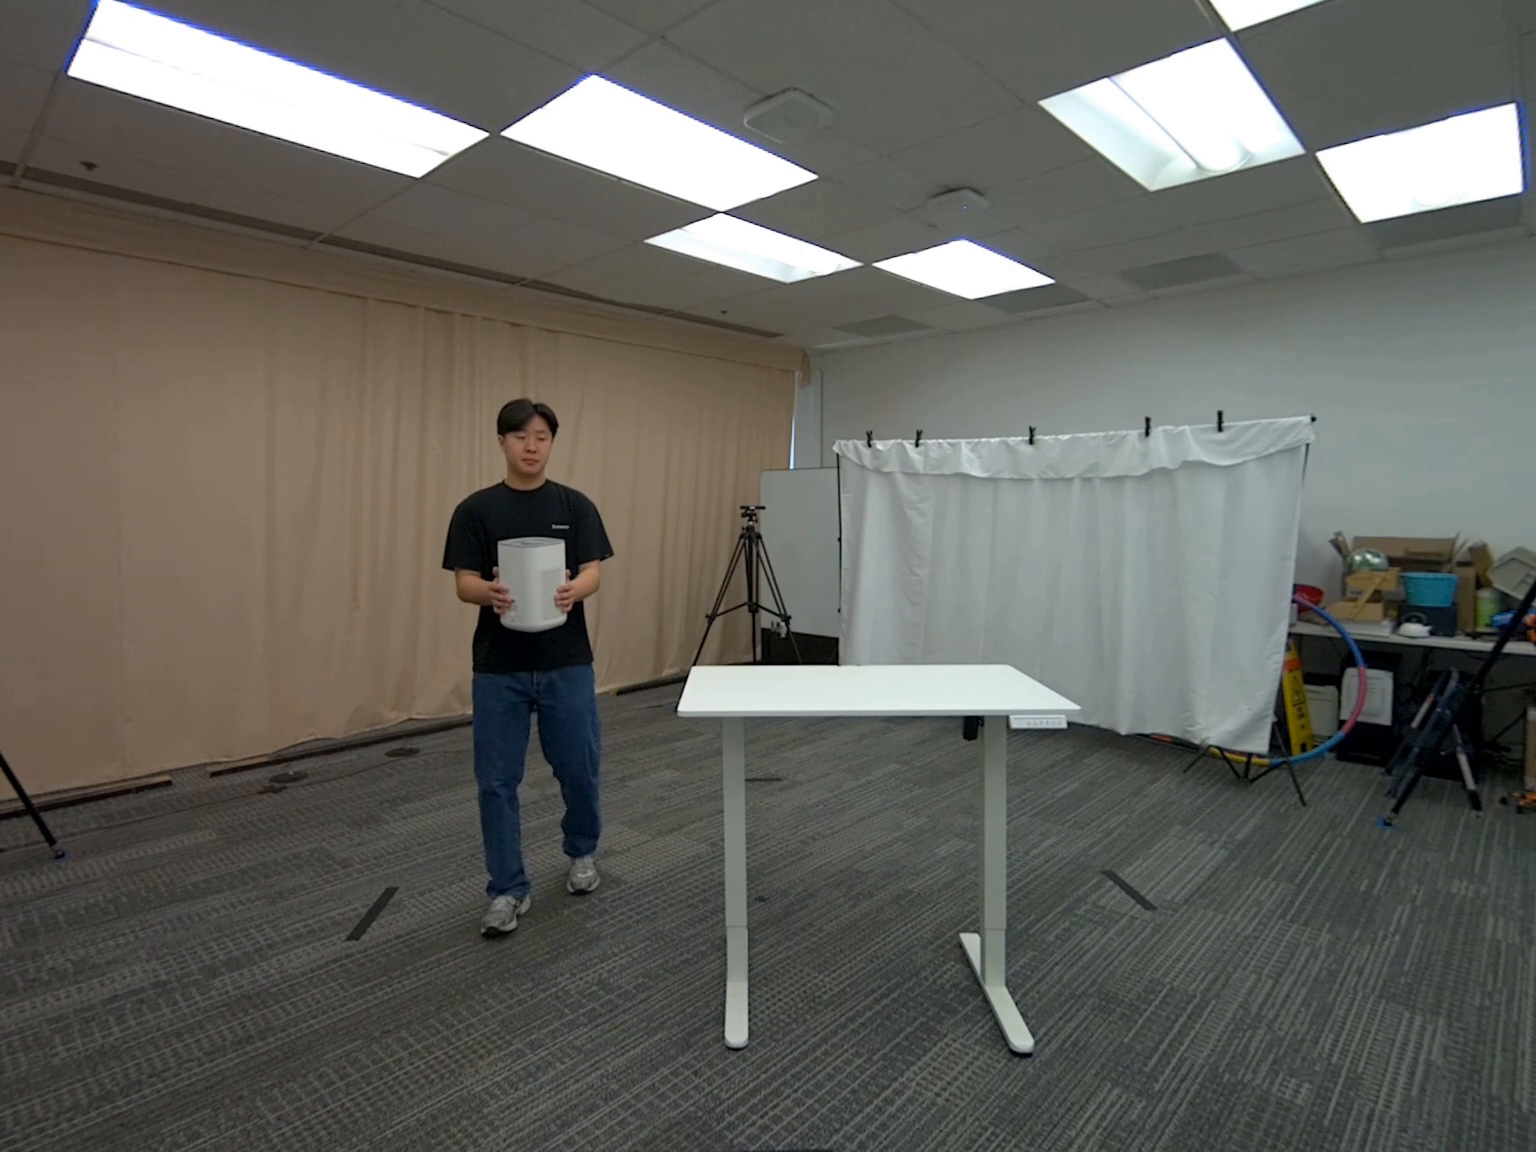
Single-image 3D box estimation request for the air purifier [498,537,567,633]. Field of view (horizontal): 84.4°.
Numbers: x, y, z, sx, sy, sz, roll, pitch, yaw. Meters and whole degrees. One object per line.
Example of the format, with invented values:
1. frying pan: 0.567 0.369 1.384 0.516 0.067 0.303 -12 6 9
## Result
1. air purifier: -0.712 0.026 2.570 0.176 0.264 0.168 6 10 27
